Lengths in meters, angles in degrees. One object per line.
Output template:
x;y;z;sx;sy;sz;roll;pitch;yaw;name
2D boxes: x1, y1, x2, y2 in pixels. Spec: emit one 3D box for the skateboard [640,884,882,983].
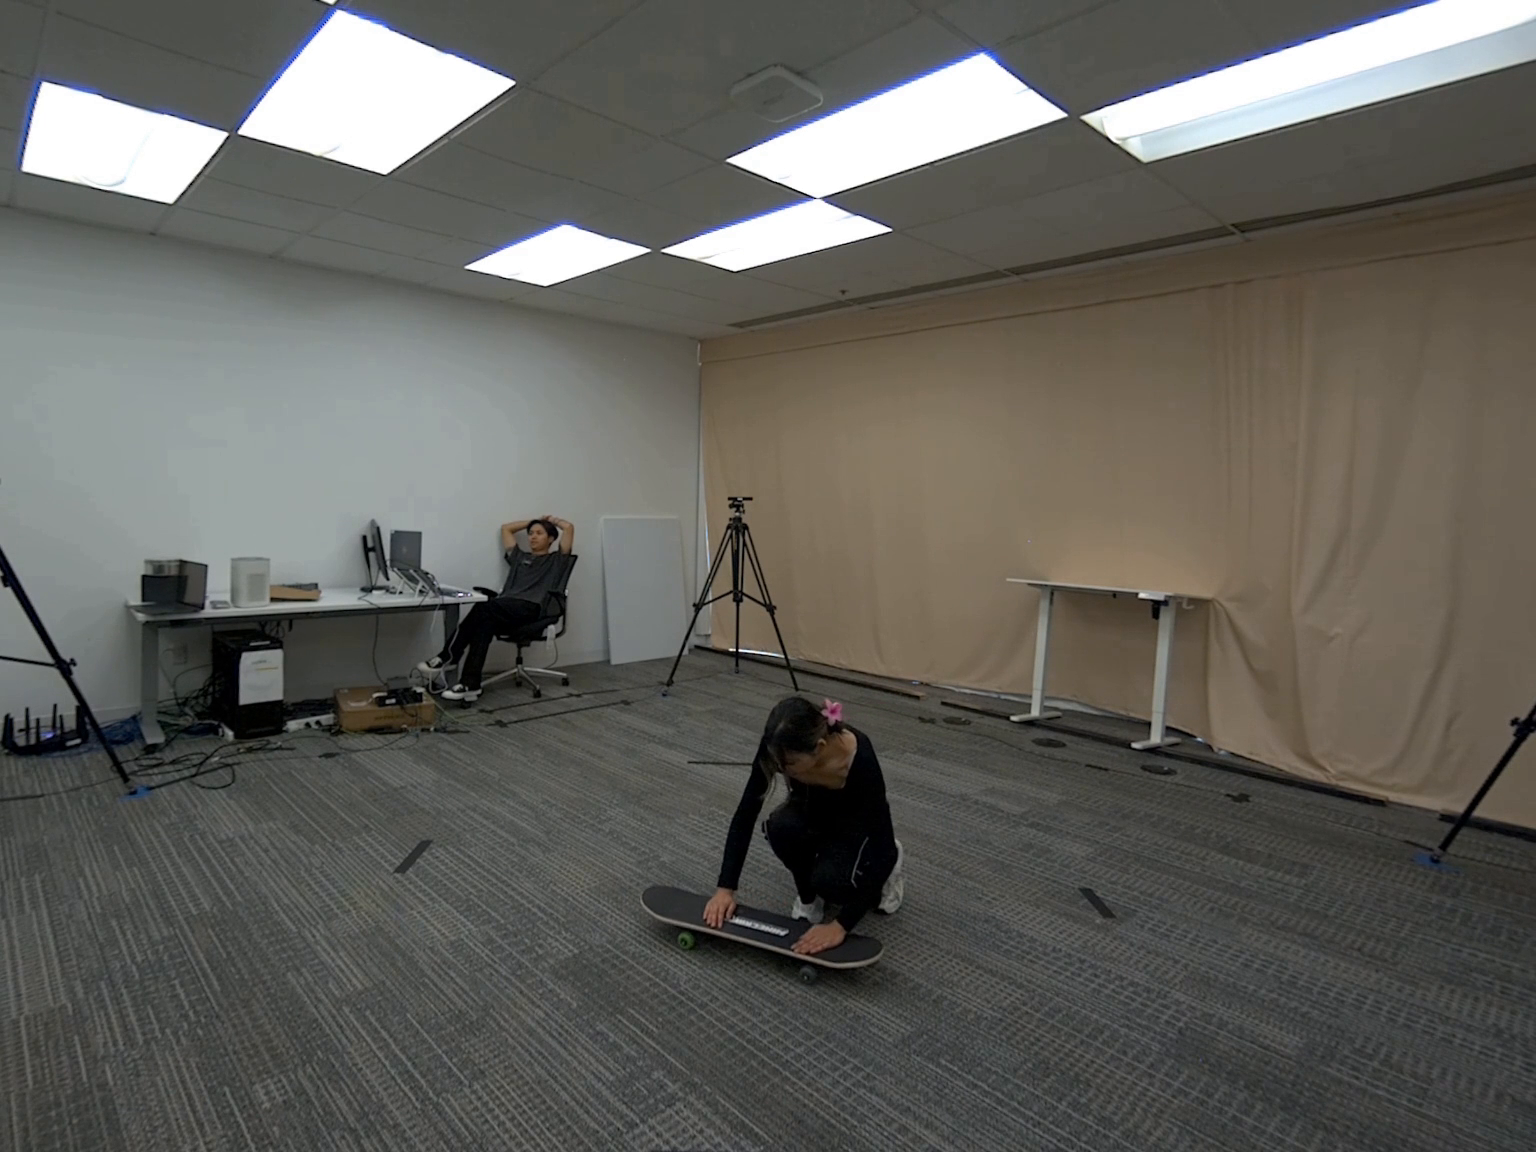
-0.046;1.093;2.583;0.800;0.110;0.190;4;5;24;skateboard
